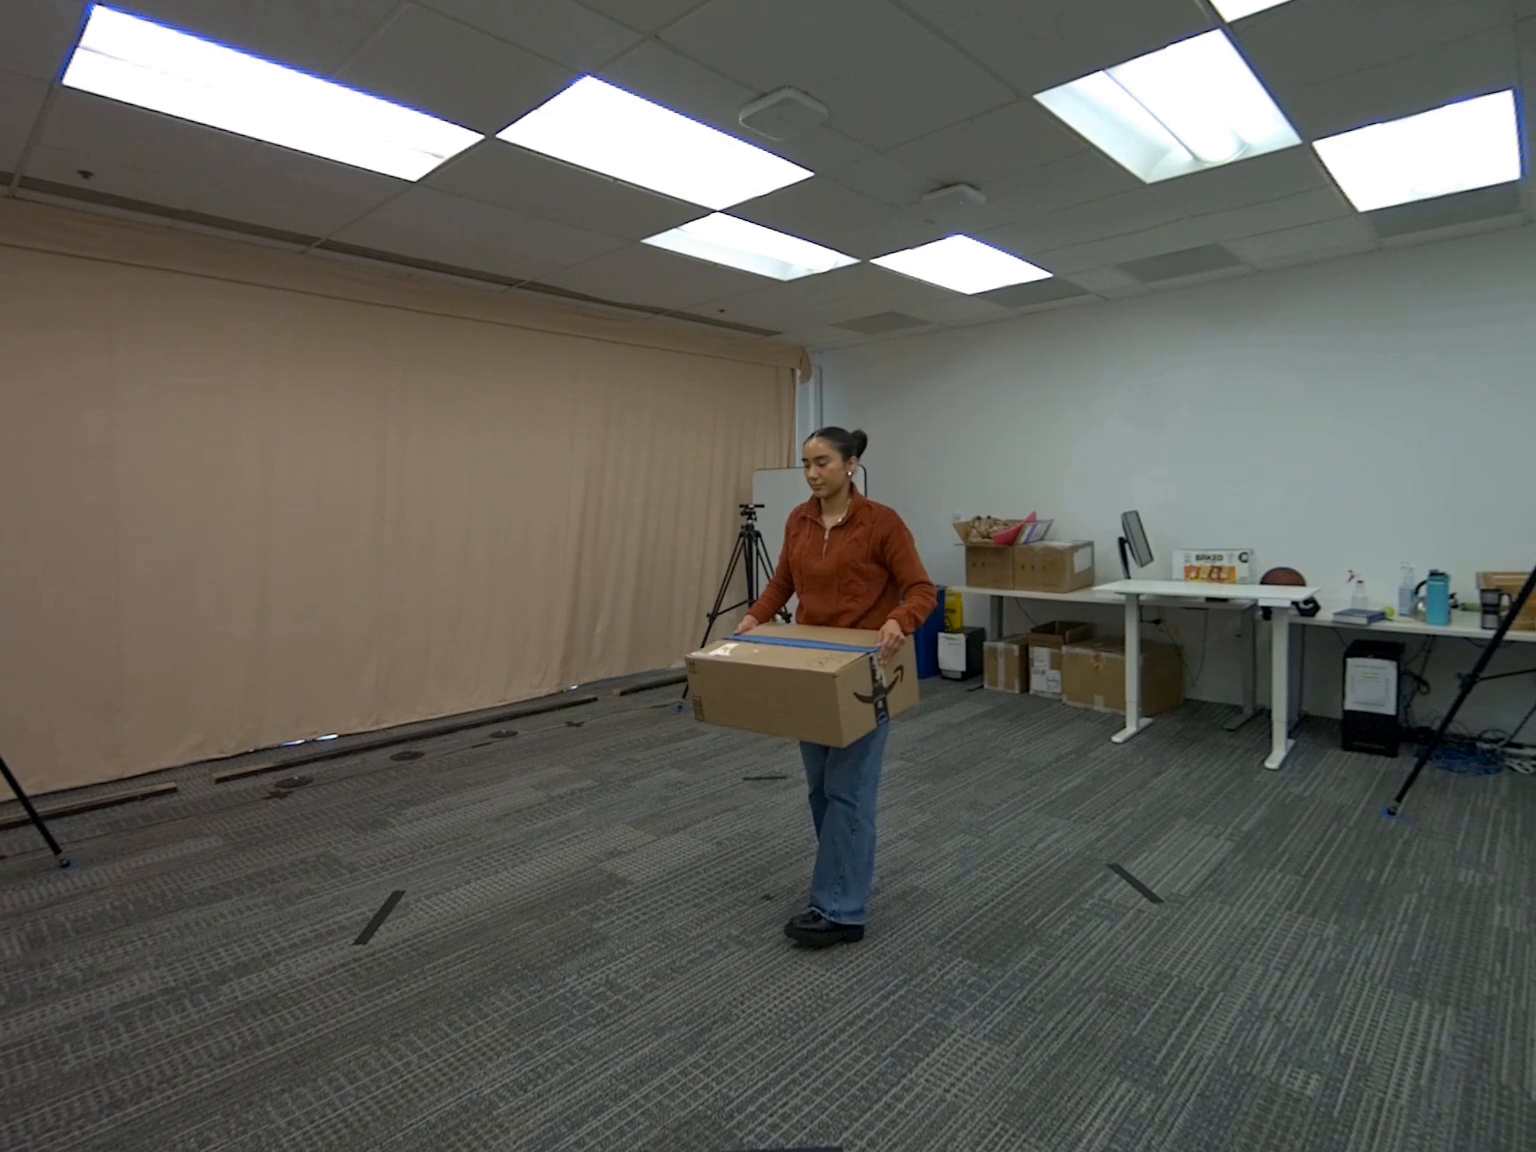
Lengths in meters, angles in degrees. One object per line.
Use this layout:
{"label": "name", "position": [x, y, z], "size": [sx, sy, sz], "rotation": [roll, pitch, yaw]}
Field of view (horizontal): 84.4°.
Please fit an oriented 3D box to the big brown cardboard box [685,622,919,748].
{"label": "big brown cardboard box", "position": [0.097, 0.313, 2.593], "size": [0.608, 0.231, 0.407], "rotation": [2, 13, 40]}
